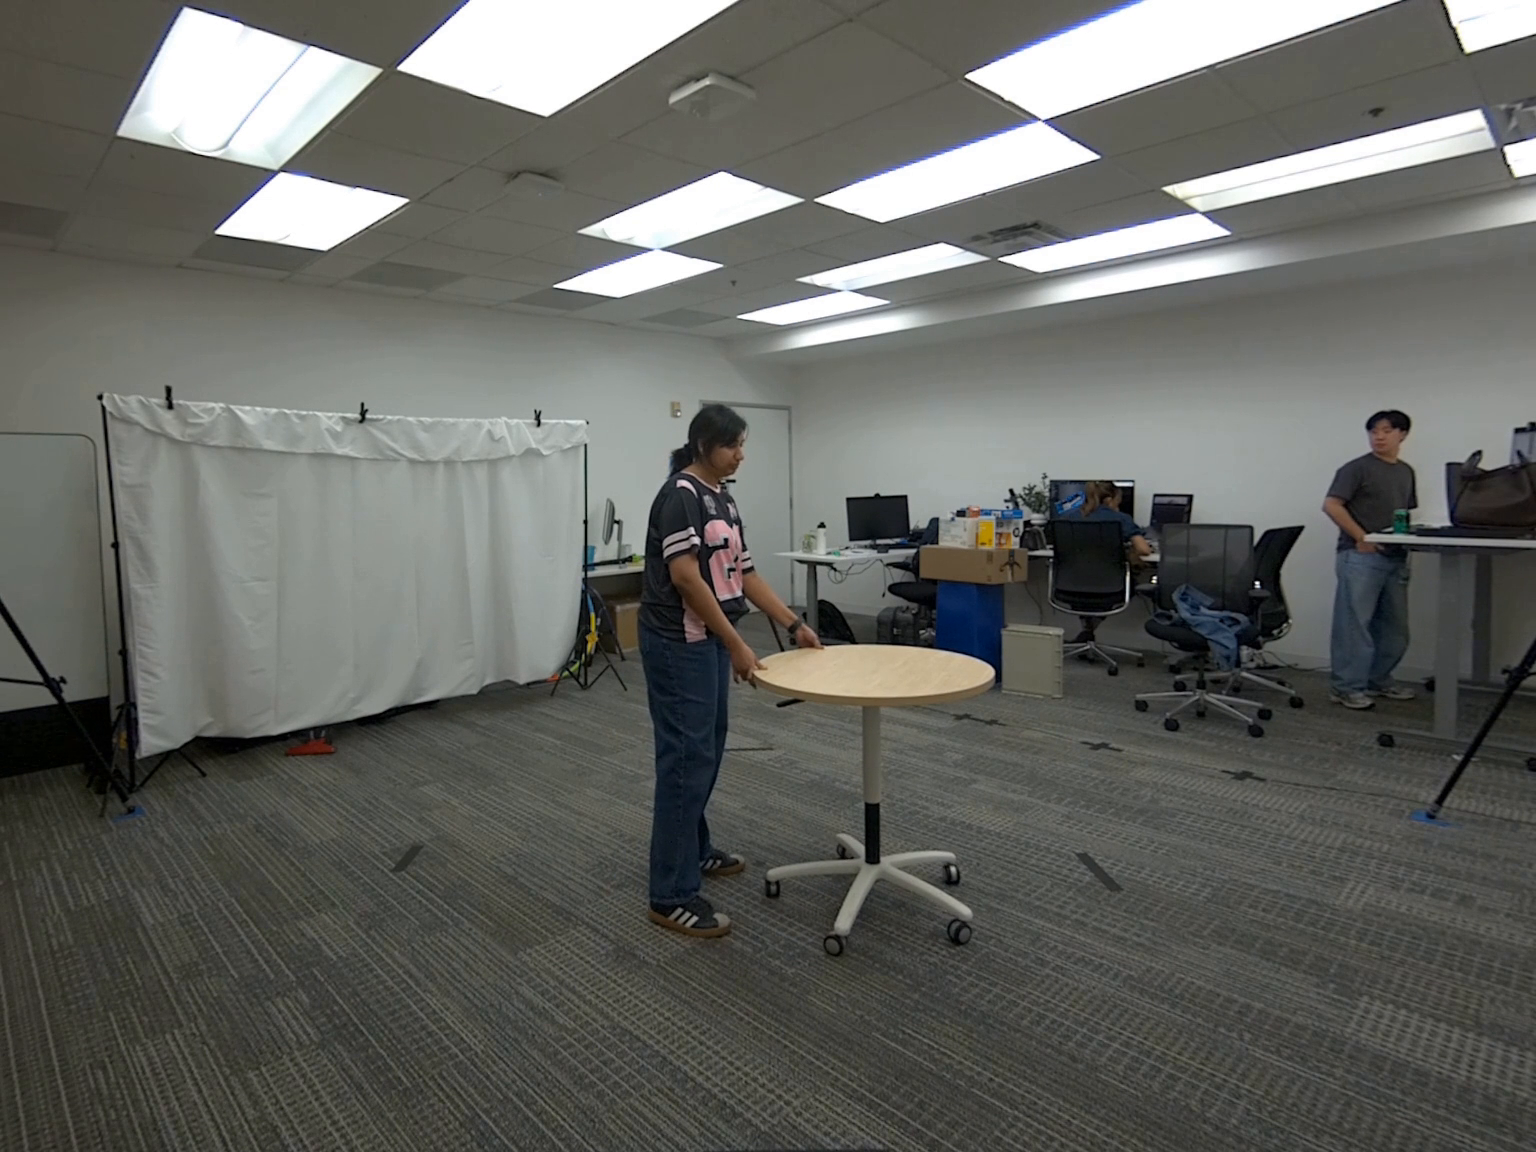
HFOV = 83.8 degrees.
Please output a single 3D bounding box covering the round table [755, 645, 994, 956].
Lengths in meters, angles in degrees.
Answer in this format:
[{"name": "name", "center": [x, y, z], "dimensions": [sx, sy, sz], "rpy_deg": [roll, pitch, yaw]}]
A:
[{"name": "round table", "center": [0.340, 0.689, 2.775], "dimensions": [0.763, 0.791, 0.768], "rpy_deg": [-1, 5, -2]}]
